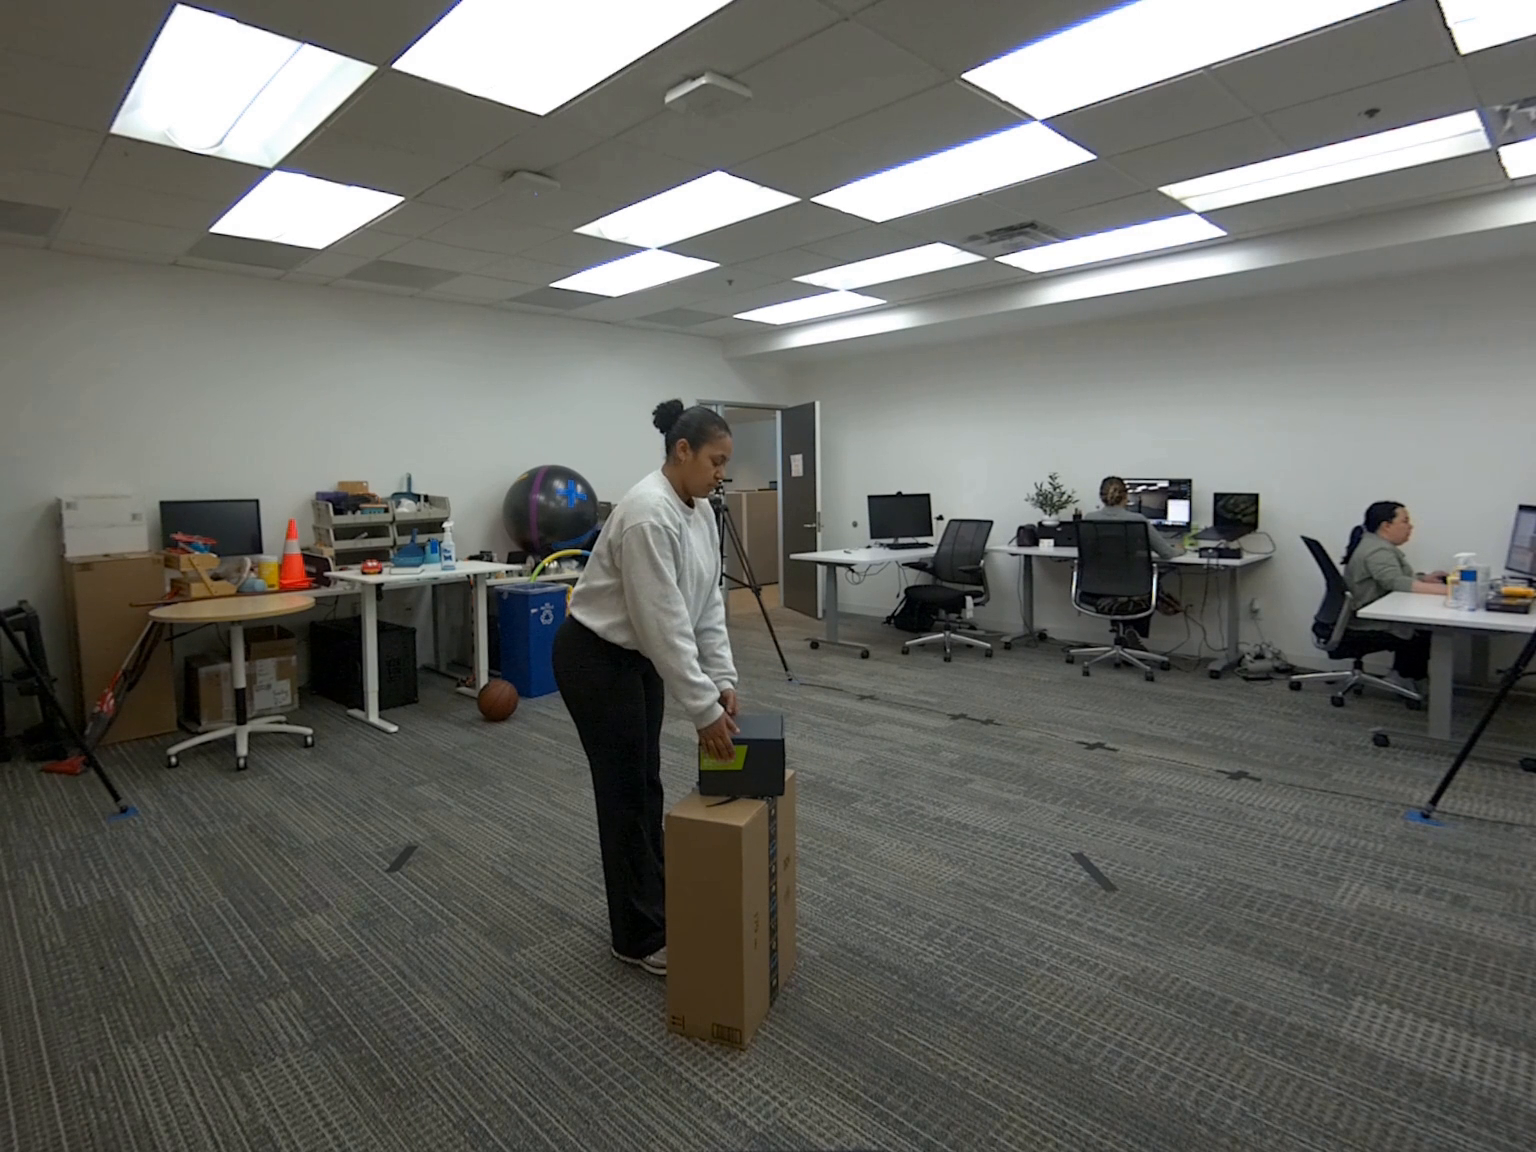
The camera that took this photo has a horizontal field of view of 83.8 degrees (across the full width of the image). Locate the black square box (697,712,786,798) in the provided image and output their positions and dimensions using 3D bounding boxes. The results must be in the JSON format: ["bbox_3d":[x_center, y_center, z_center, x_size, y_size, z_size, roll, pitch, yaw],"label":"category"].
[{"bbox_3d":[-0.061,0.470,2.362,0.228,0.155,0.217,0,6,1],"label":"black square box"}]
